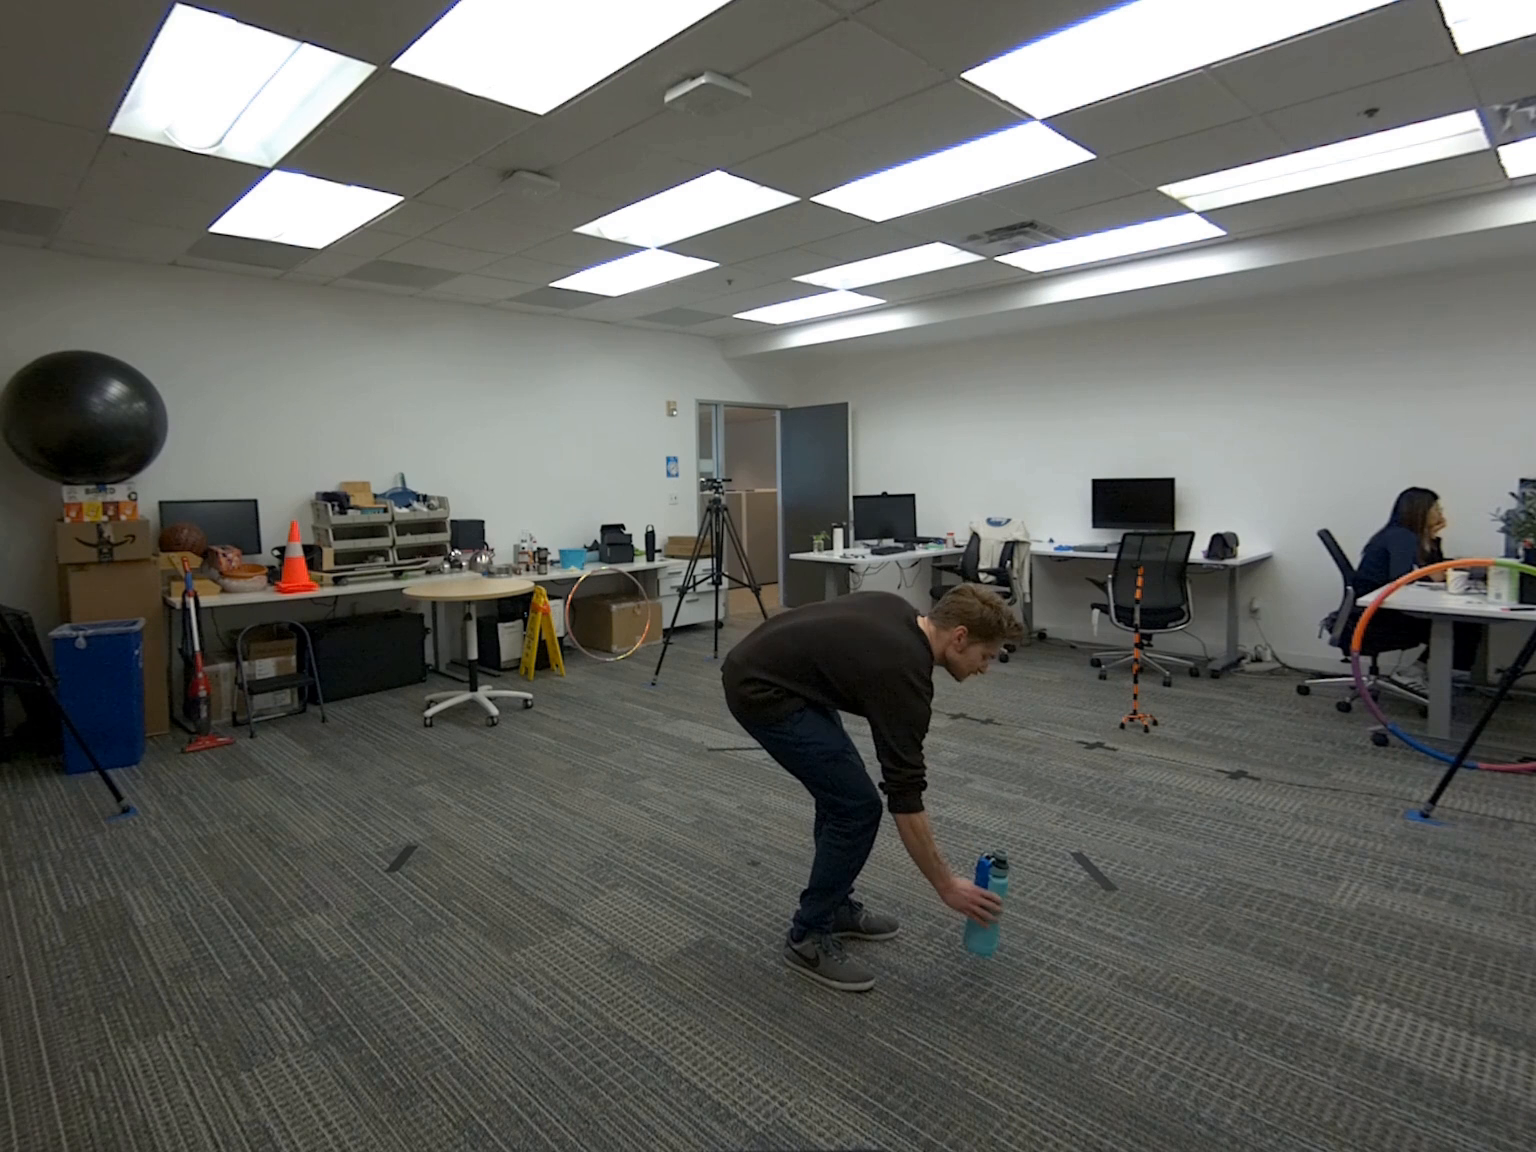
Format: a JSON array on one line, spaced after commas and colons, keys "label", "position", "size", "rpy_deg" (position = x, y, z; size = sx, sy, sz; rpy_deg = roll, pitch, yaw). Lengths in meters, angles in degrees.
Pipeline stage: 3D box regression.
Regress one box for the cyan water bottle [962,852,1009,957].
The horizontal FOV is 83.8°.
[{"label": "cyan water bottle", "position": [0.608, 0.889, 2.357], "size": [0.092, 0.282, 0.093], "rpy_deg": [7, 6, -2]}]
